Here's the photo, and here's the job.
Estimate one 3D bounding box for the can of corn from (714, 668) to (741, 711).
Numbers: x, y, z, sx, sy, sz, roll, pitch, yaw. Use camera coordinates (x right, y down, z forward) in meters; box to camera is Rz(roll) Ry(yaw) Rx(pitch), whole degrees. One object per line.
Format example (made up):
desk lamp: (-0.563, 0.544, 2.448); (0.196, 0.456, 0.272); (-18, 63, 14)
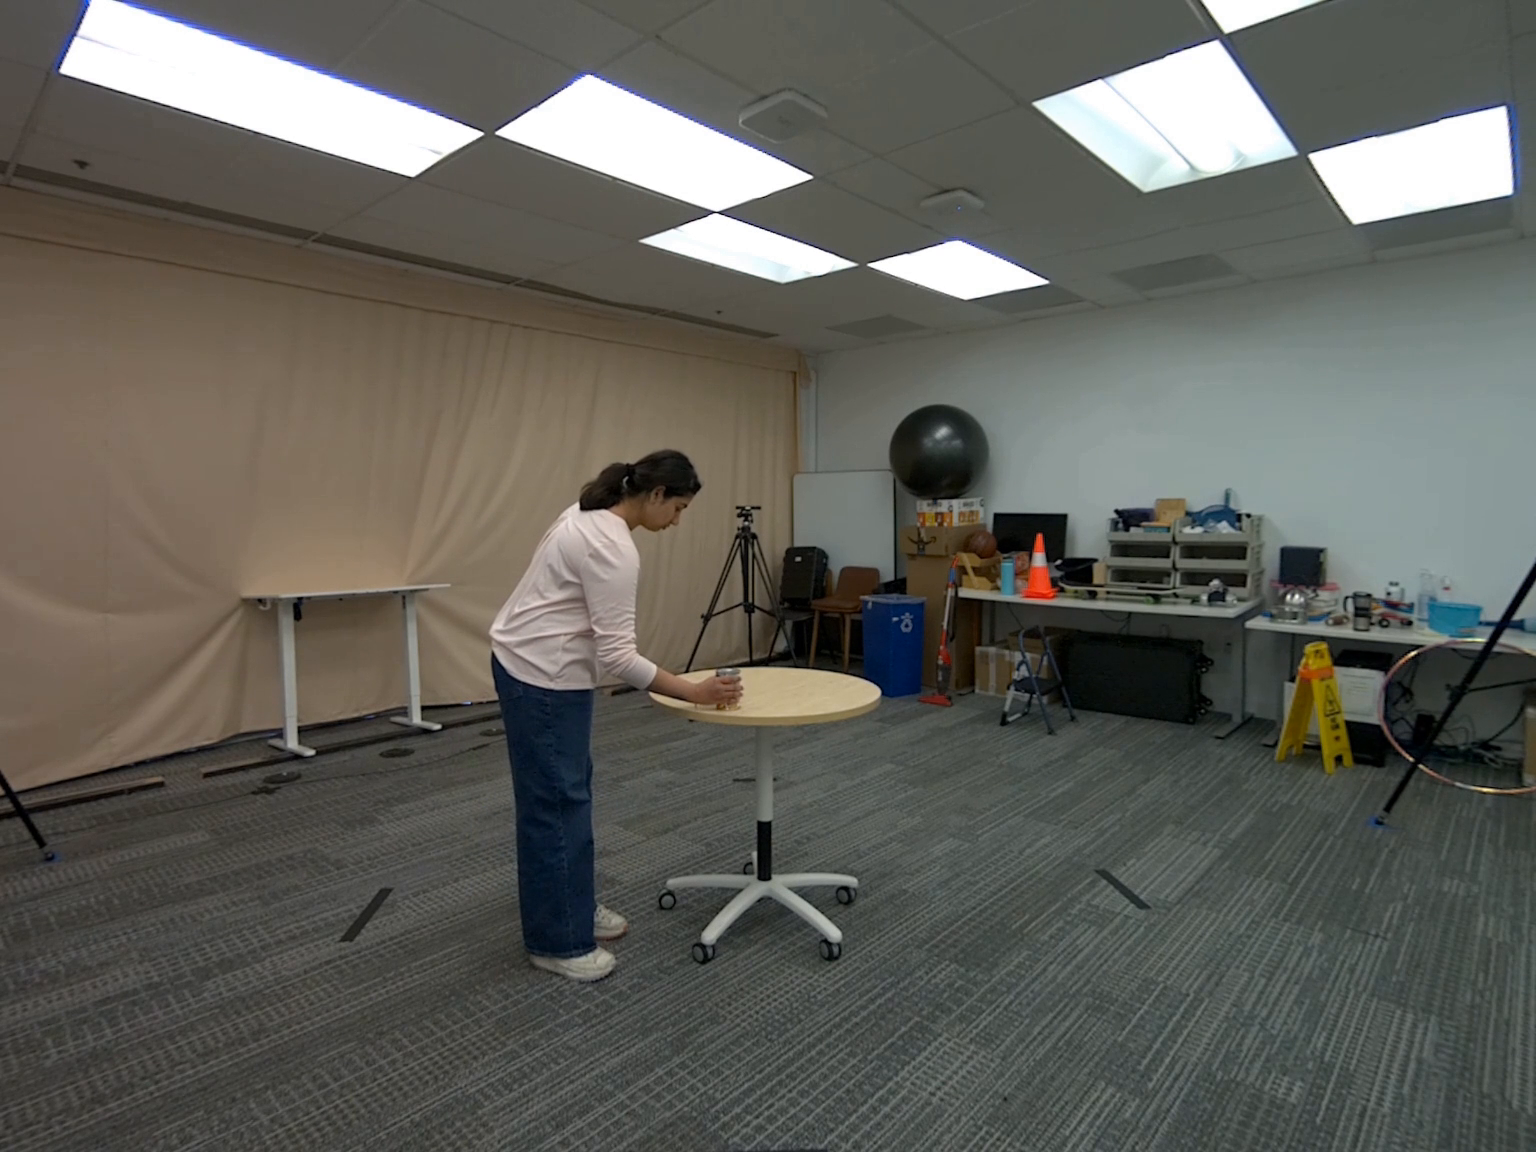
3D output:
can of corn: (-0.113, 0.346, 2.518); (0.074, 0.111, 0.074); (-2, 1, -2)
